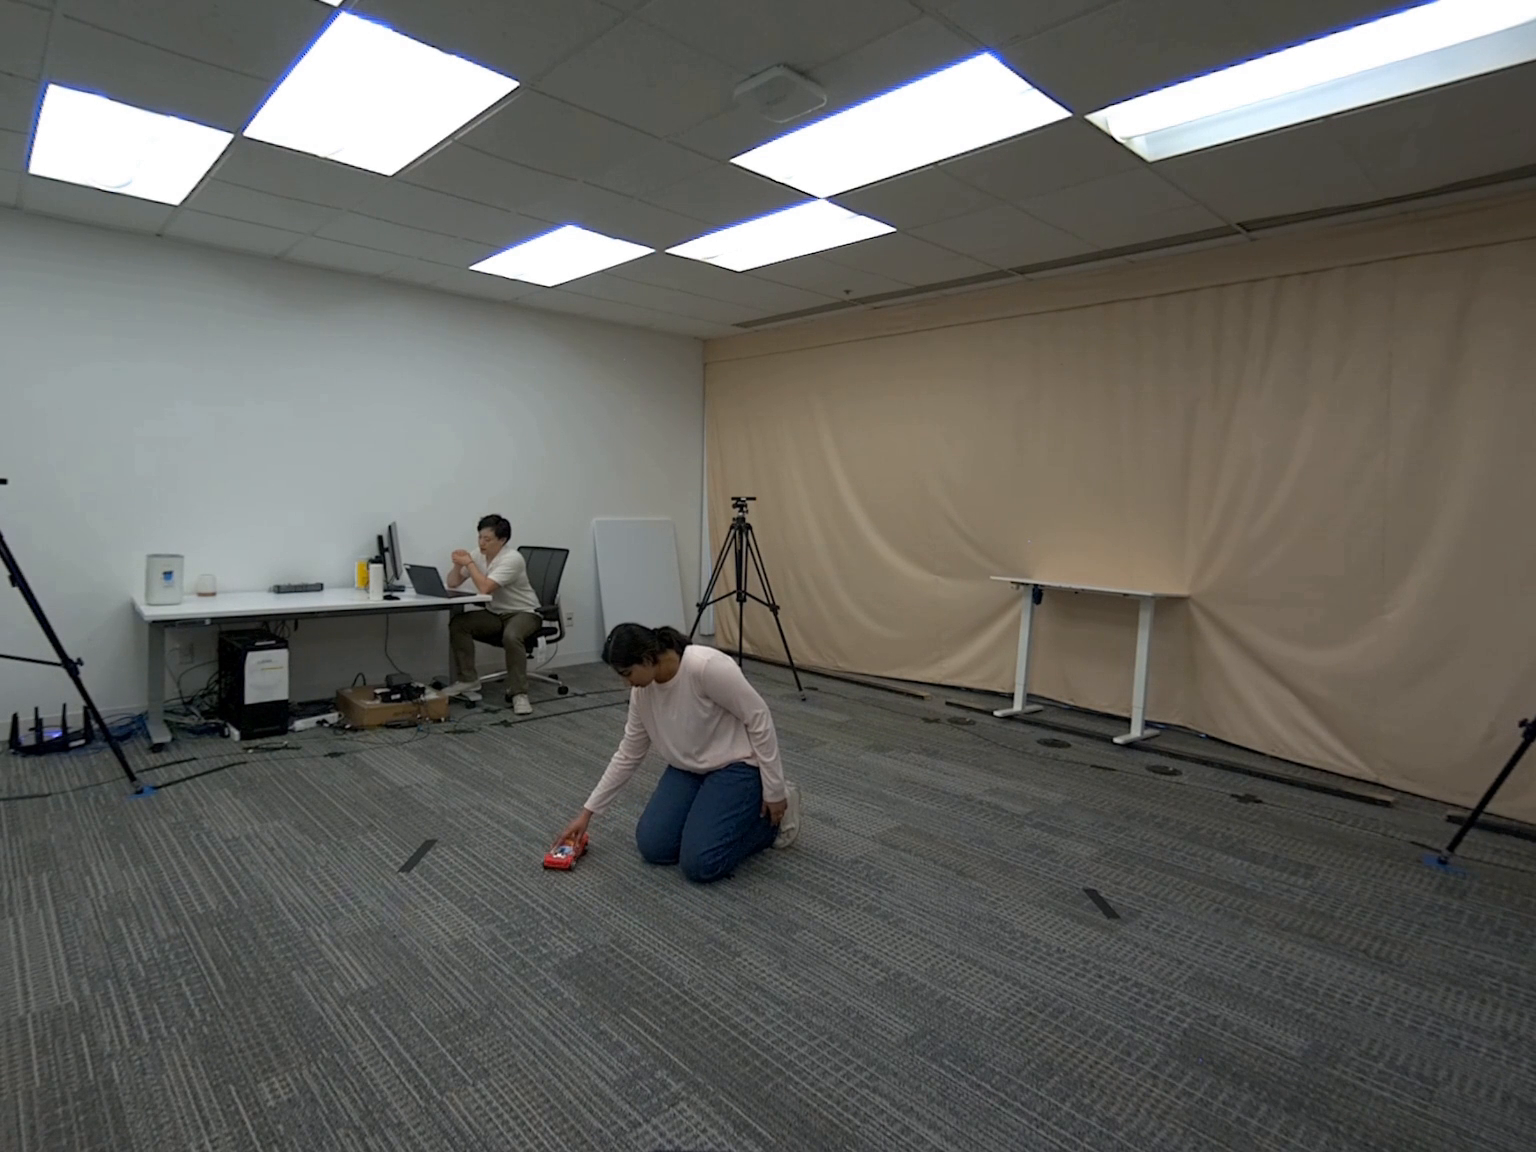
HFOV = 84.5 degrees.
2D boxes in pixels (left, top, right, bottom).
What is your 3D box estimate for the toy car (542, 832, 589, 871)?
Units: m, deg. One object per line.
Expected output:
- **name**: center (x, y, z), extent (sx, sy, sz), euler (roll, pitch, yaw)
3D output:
- **toy car**: center (-0.766, 1.044, 3.224), extent (0.131, 0.082, 0.256), euler (1, 16, 7)
